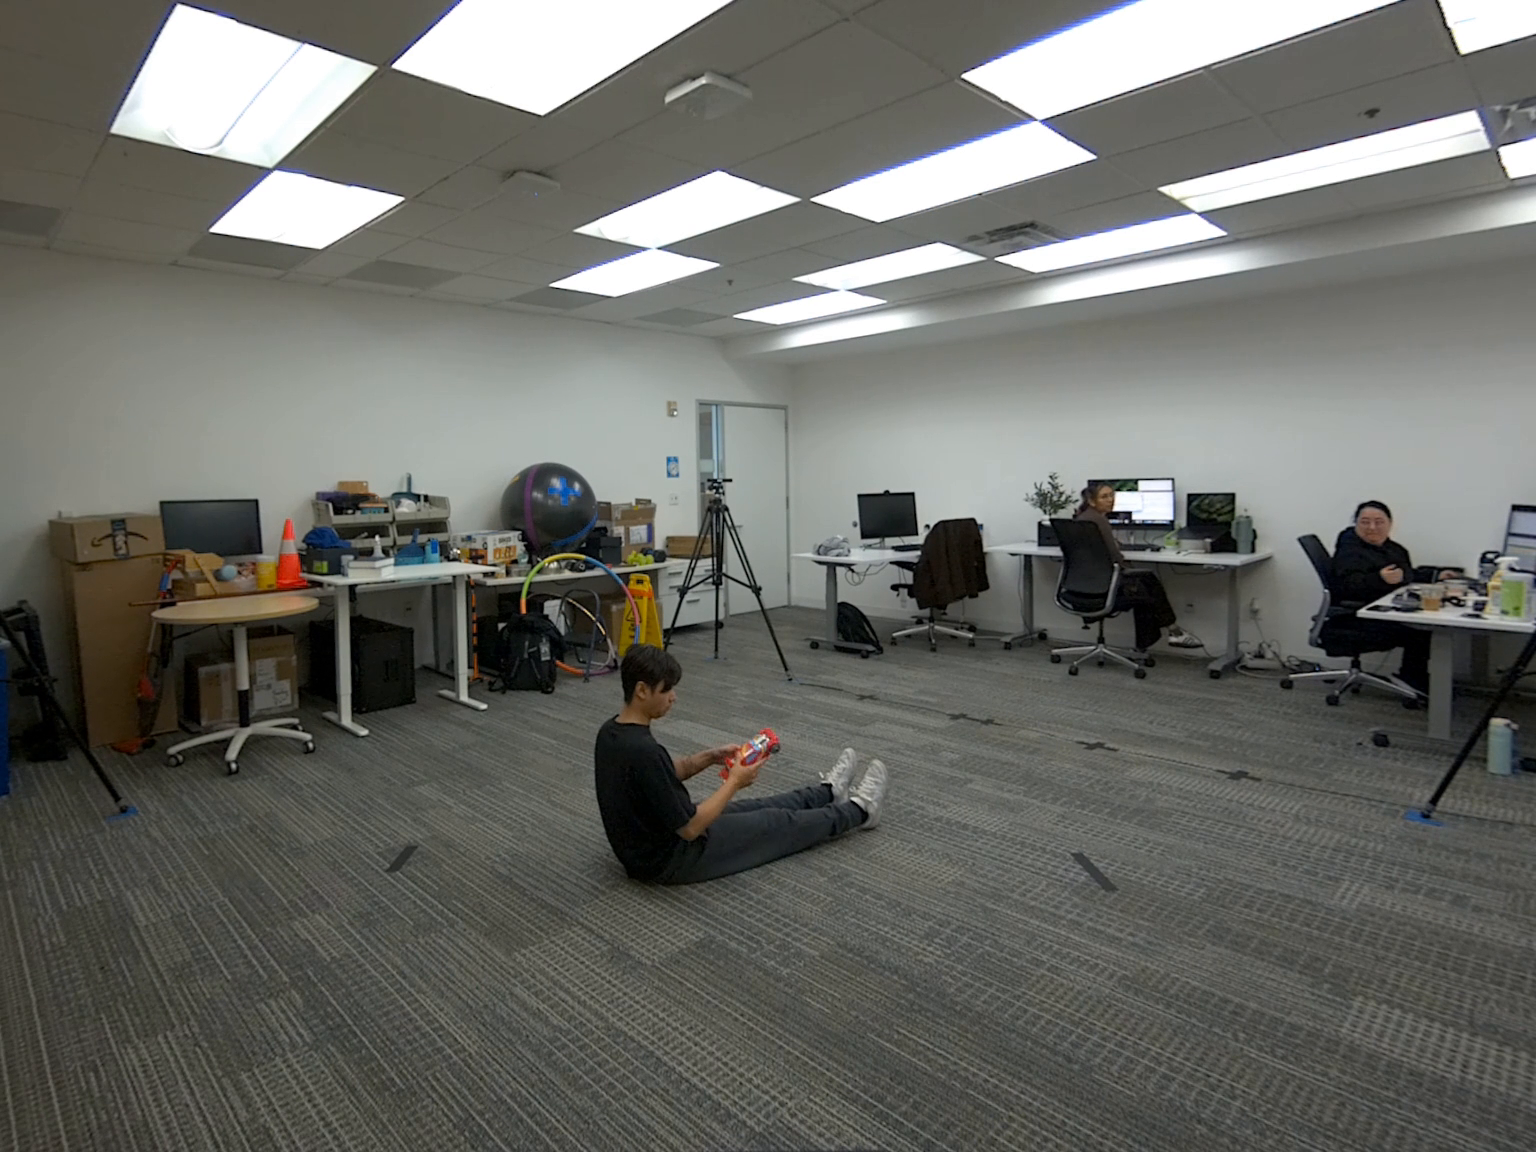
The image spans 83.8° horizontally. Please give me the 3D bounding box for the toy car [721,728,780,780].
[{"bbox_3d":[-0.069,0.668,3.095,0.253,0.081,0.134,-32,25,-10],"label":"toy car"}]
